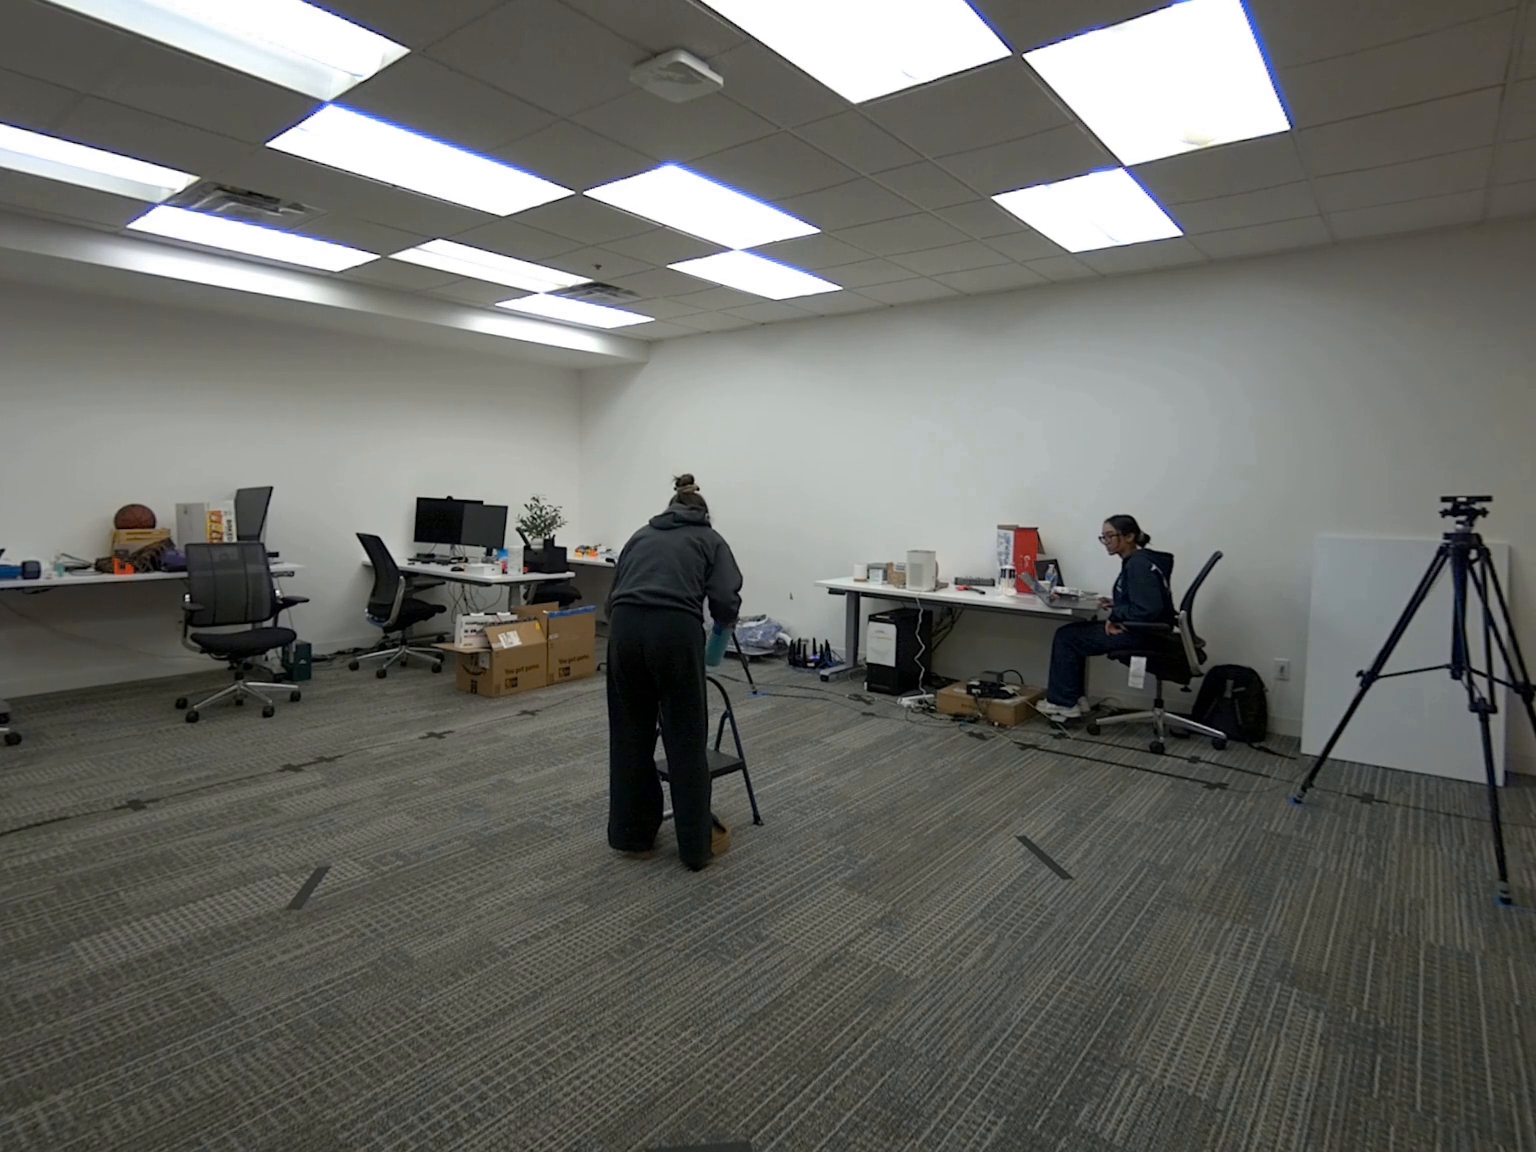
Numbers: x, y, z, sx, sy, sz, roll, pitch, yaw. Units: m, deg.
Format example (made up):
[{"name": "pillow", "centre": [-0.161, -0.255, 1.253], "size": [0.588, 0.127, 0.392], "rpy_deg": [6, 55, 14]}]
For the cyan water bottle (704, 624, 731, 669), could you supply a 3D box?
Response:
[{"name": "cyan water bottle", "centre": [-0.220, 0.261, 3.523], "size": [0.091, 0.279, 0.095], "rpy_deg": [12, 35, -10]}]
